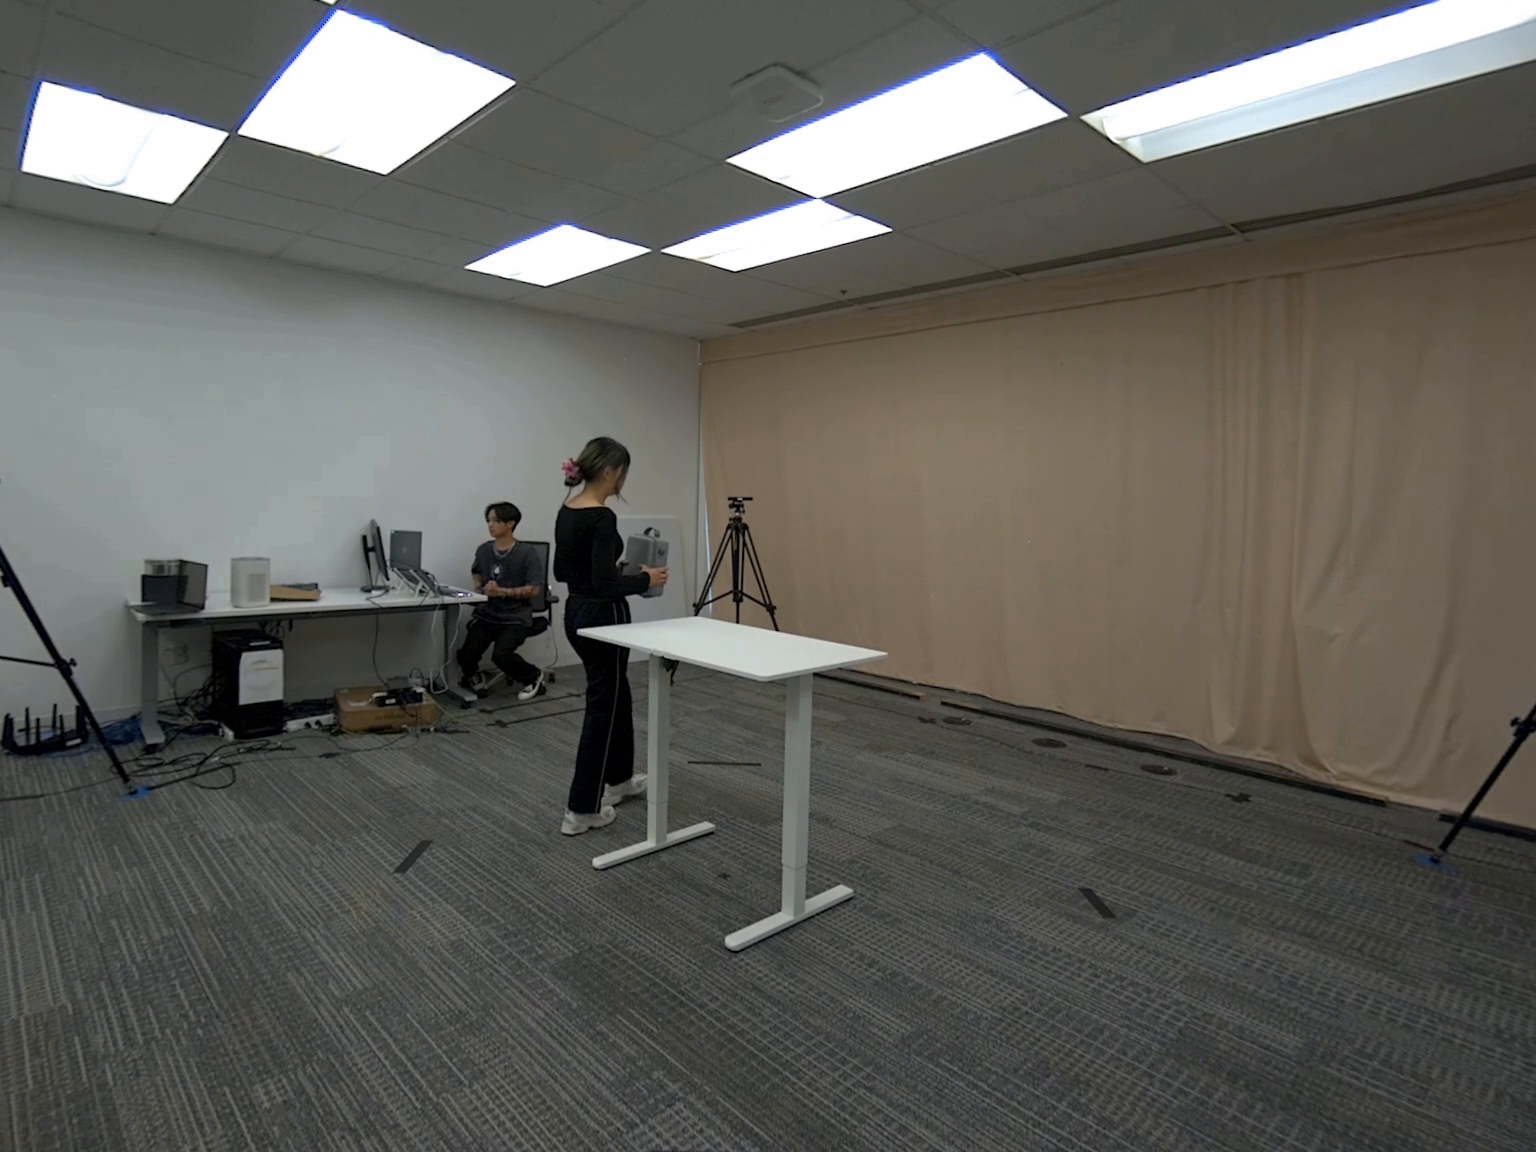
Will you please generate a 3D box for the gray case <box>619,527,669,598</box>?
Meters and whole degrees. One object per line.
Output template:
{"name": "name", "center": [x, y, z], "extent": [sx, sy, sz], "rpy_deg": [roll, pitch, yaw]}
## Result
{"name": "gray case", "center": [-0.546, -0.053, 3.647], "extent": [0.102, 0.260, 0.263], "rpy_deg": [7, 3, -31]}
